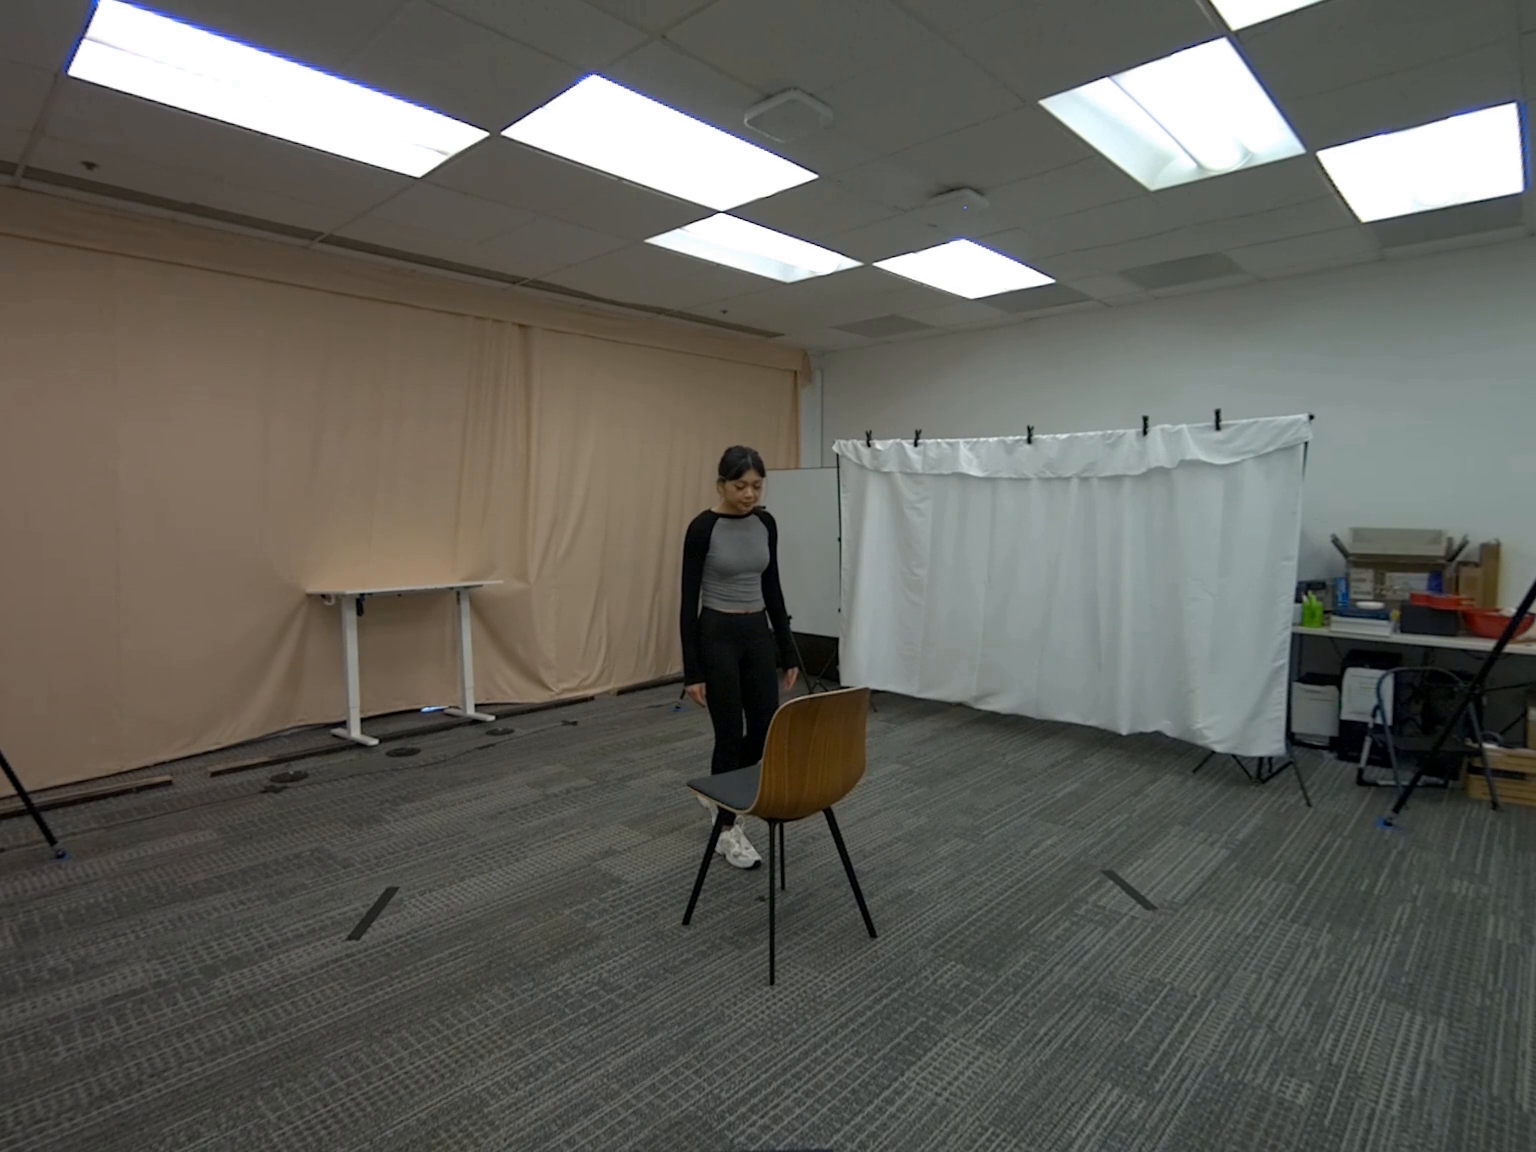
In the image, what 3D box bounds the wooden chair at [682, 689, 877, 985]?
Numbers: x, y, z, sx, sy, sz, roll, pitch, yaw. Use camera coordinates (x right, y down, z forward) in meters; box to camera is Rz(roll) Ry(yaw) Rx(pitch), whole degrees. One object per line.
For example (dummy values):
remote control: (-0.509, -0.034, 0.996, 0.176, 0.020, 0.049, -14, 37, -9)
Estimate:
wooden chair: (0.029, 0.733, 2.742, 0.464, 0.874, 0.541, -3, 9, -39)
